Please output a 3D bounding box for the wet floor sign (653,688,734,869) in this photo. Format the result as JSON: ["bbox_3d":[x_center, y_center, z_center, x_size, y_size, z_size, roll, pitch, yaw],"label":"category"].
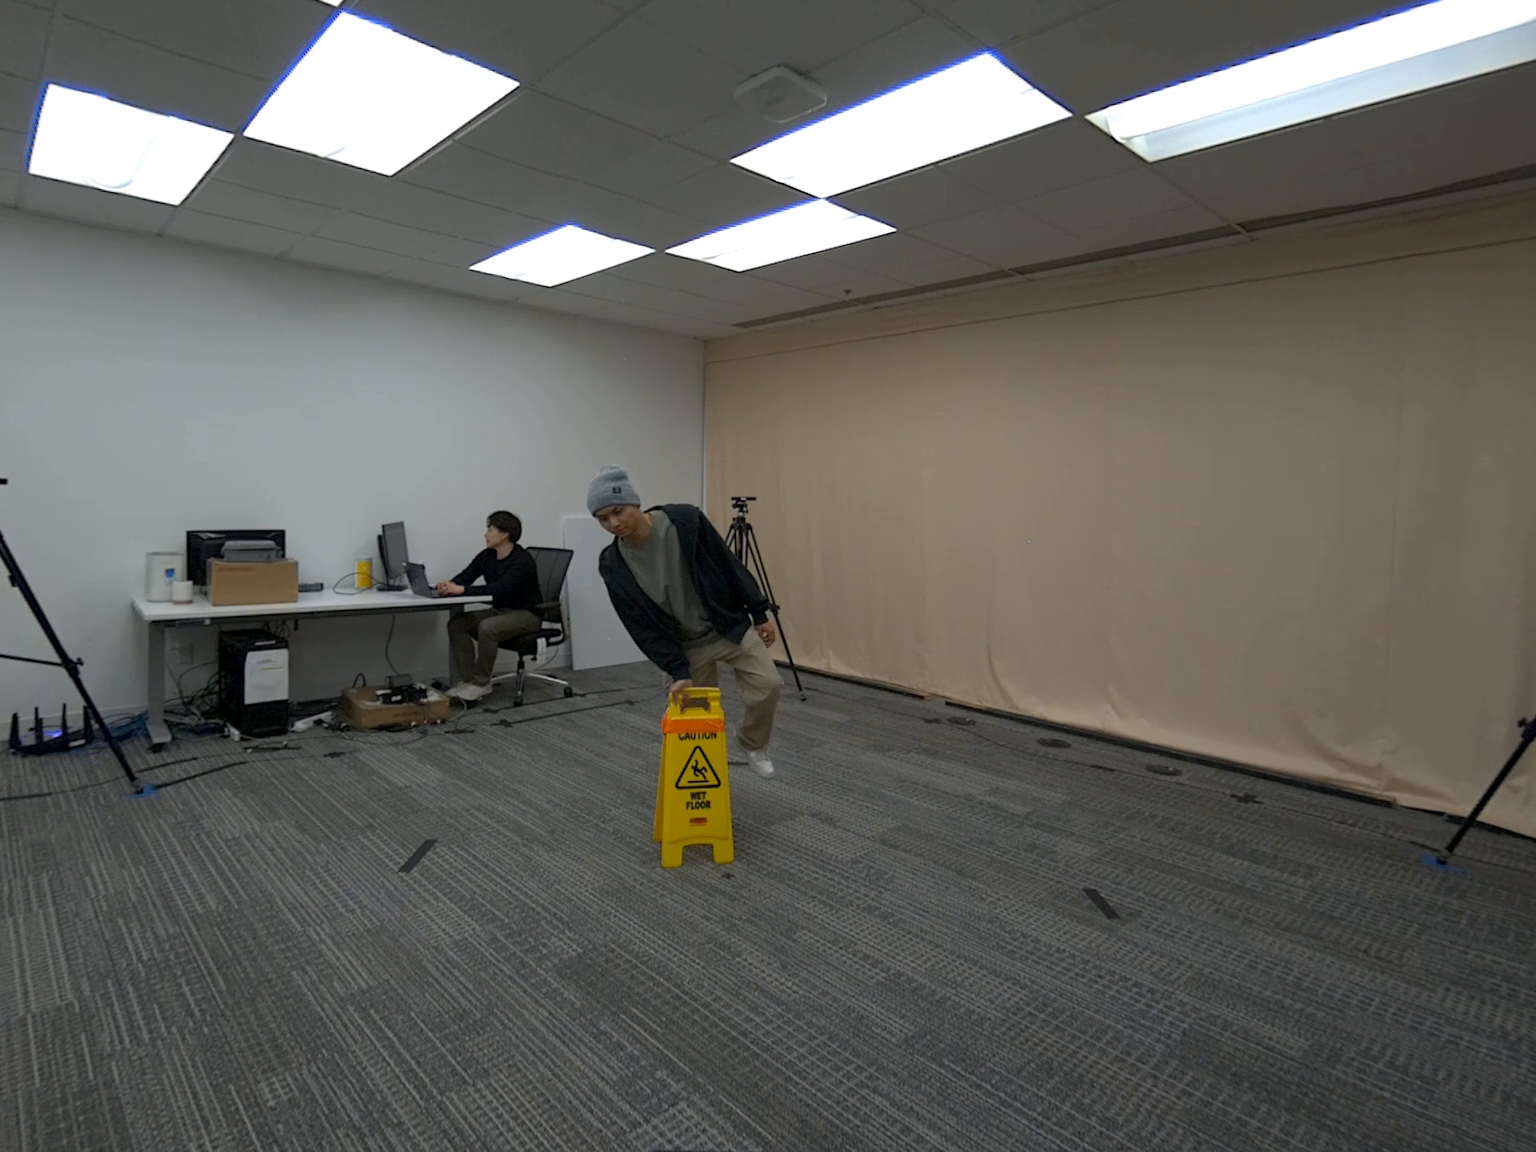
[{"bbox_3d":[-0.305,0.759,3.301,0.279,0.645,0.293,1,3,-14],"label":"wet floor sign"}]
